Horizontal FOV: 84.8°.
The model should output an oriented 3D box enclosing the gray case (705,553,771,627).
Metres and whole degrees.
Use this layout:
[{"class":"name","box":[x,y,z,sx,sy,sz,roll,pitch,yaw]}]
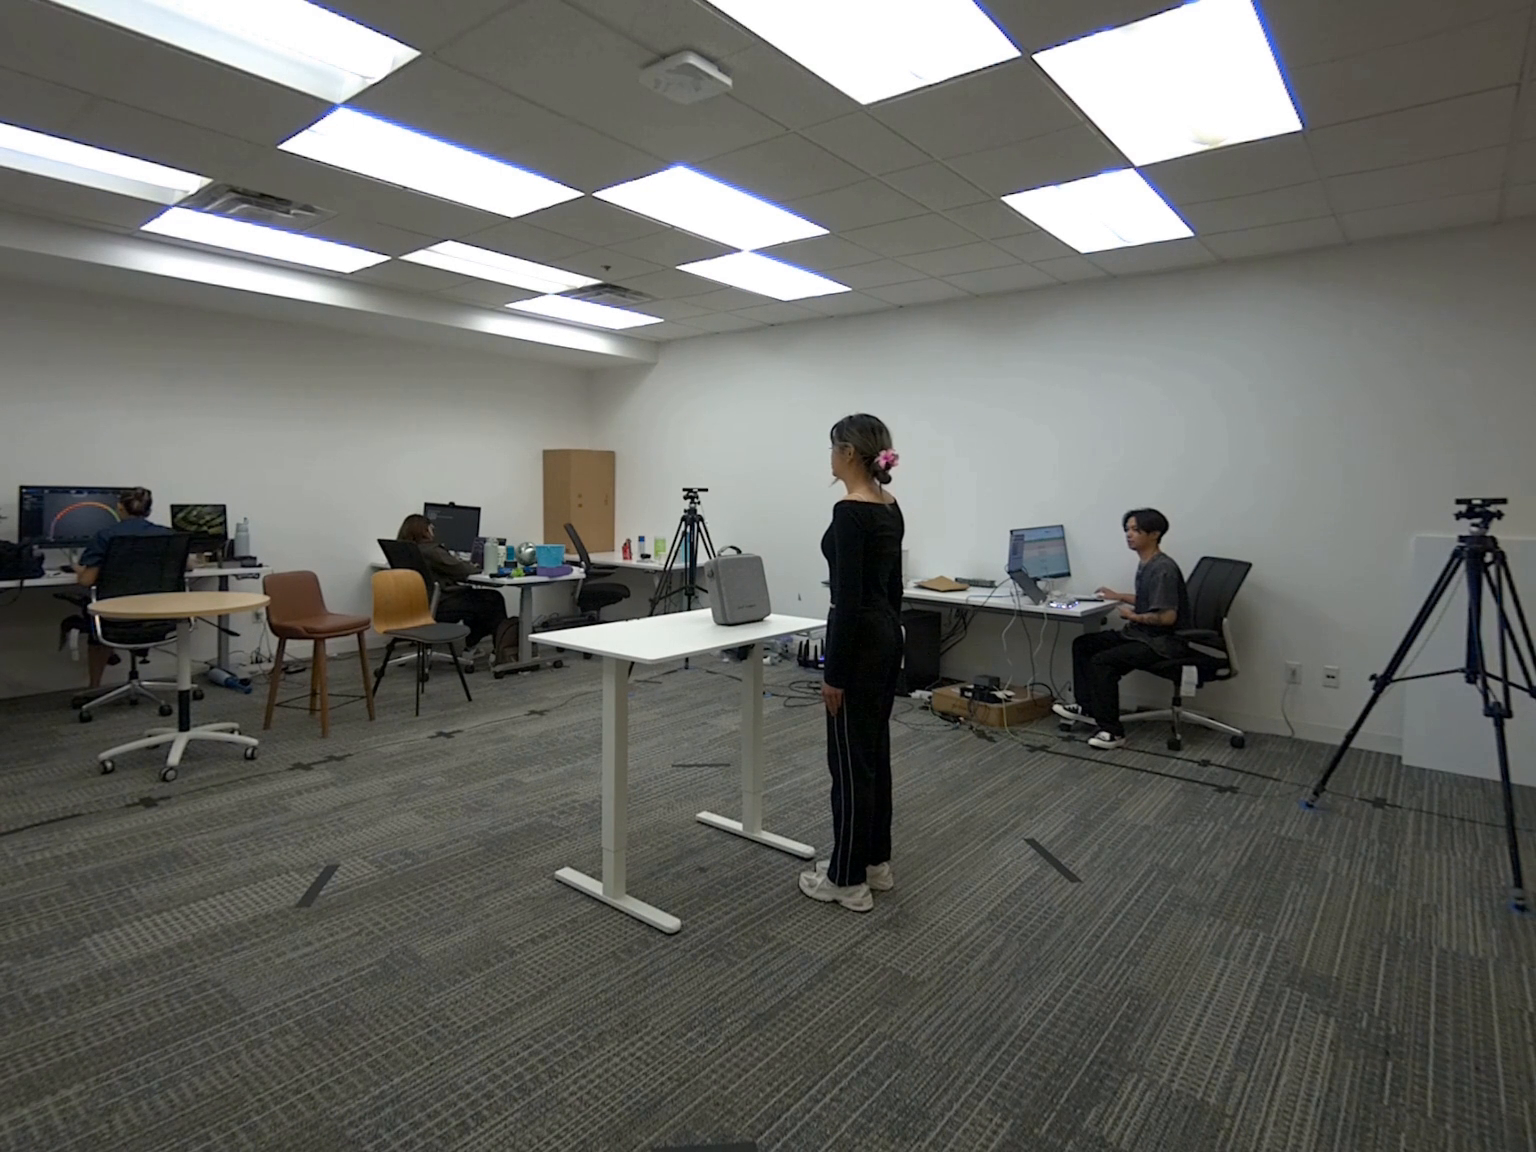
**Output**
[{"class":"gray case","box":[-0.129,0.042,3.247,0.107,0.262,0.249,-14,-7,42]}]
